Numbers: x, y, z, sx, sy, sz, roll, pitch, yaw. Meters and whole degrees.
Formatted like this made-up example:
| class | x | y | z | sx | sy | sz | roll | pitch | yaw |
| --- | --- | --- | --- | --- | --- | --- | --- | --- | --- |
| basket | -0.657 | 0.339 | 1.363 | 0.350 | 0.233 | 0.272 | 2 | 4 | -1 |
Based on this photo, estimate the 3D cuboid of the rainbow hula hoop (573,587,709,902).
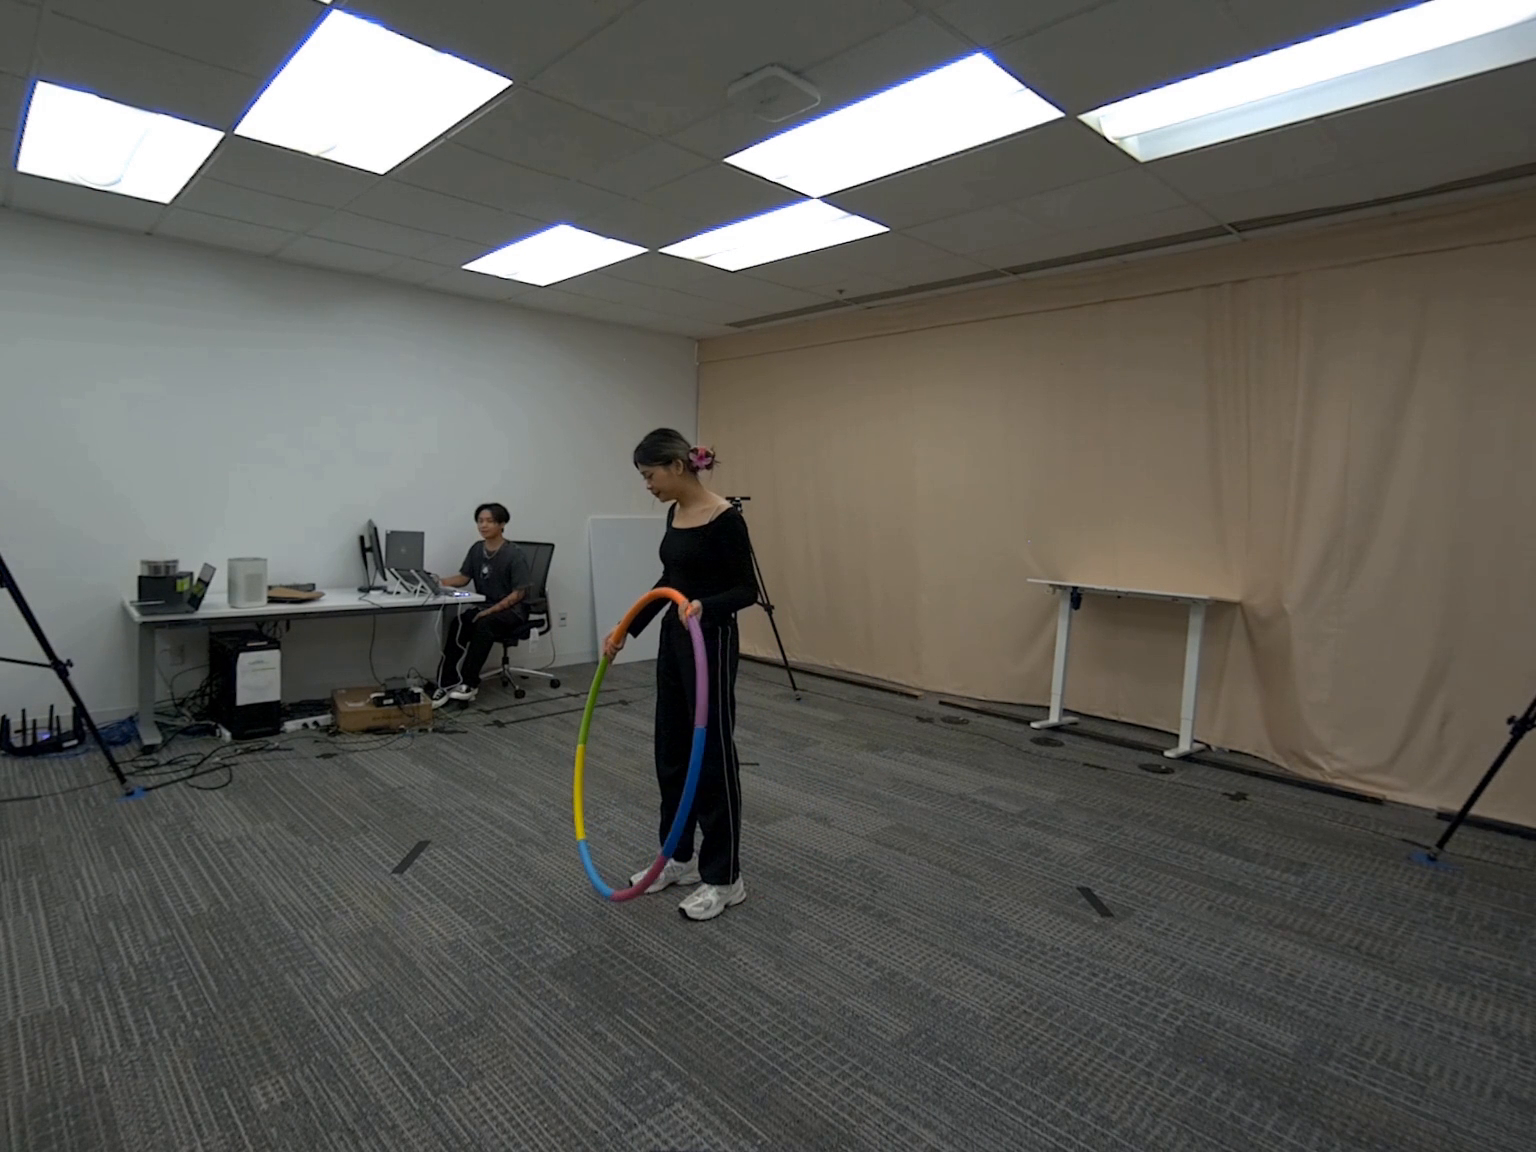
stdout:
| class | x | y | z | sx | sy | sz | roll | pitch | yaw |
| --- | --- | --- | --- | --- | --- | --- | --- | --- | --- |
| rainbow hula hoop | -0.447 | 0.526 | 2.736 | 0.035 | 0.980 | 1.000 | 15 | -3 | -29 |
